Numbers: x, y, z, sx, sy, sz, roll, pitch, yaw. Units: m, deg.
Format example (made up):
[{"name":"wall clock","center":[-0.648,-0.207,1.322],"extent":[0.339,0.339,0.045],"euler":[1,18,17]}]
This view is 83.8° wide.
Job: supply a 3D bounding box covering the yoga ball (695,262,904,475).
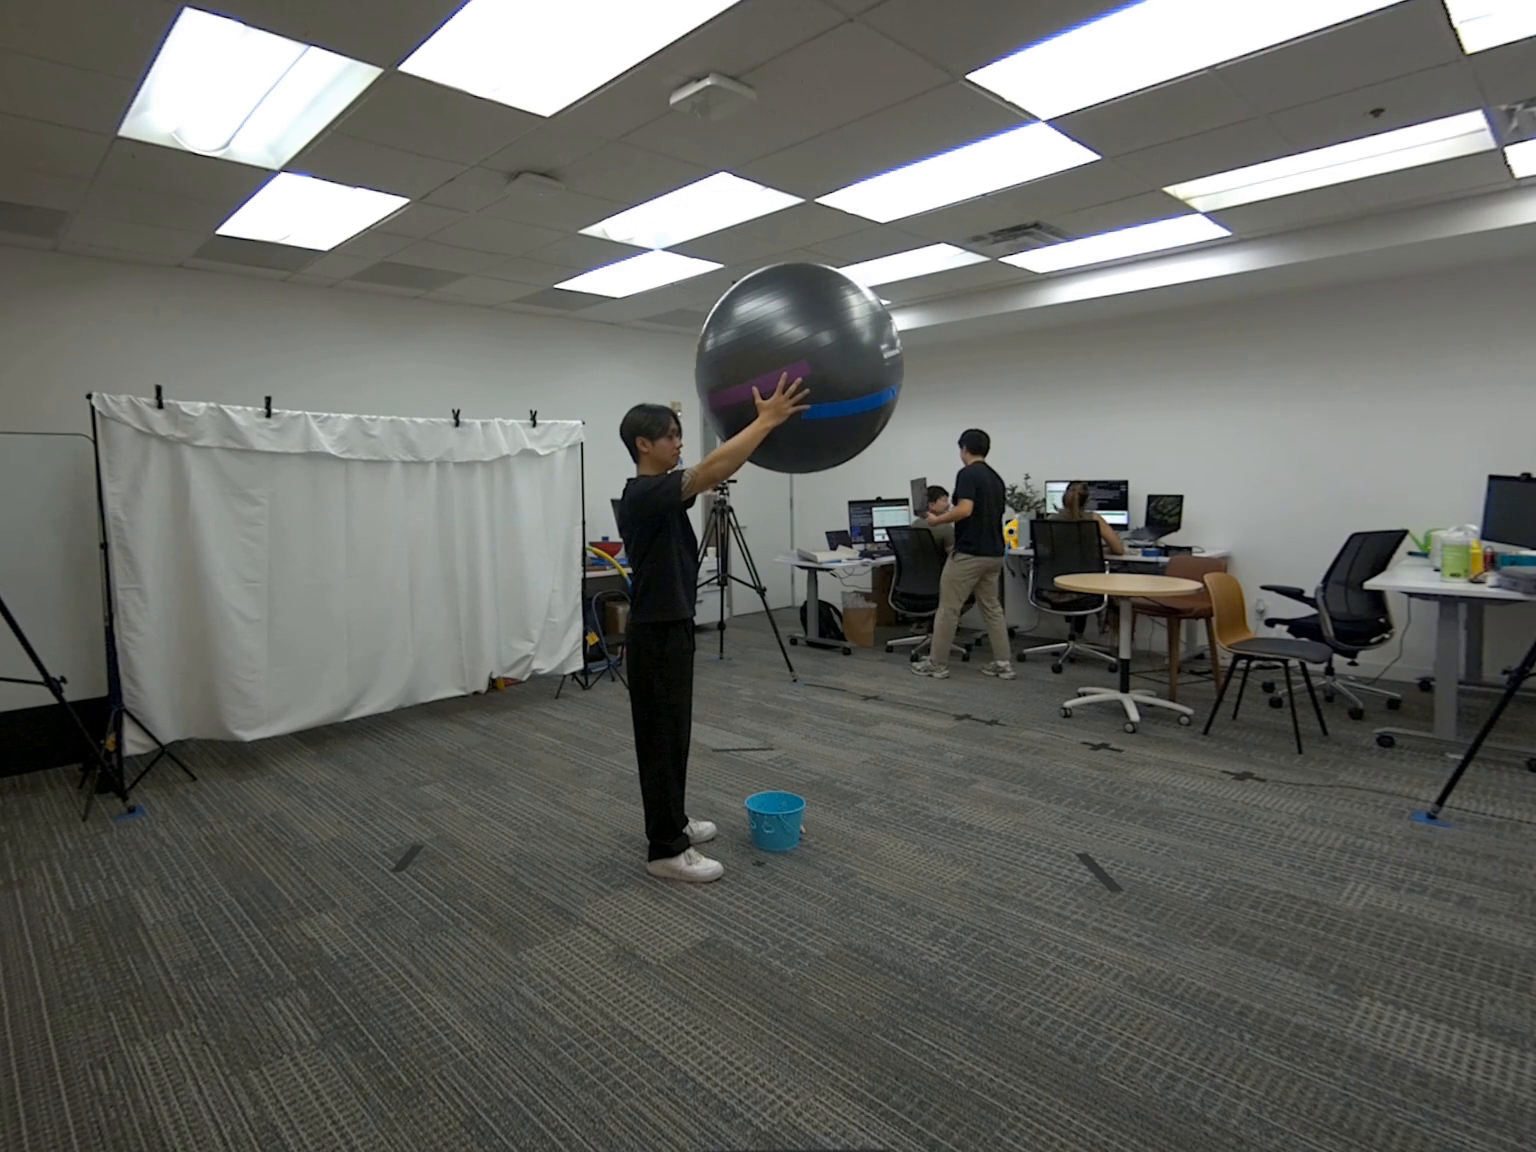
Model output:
[{"name":"yoga ball","center":[0.111,-0.753,3.137],"extent":[0.757,0.755,0.762],"euler":[-1,5,-2]}]
